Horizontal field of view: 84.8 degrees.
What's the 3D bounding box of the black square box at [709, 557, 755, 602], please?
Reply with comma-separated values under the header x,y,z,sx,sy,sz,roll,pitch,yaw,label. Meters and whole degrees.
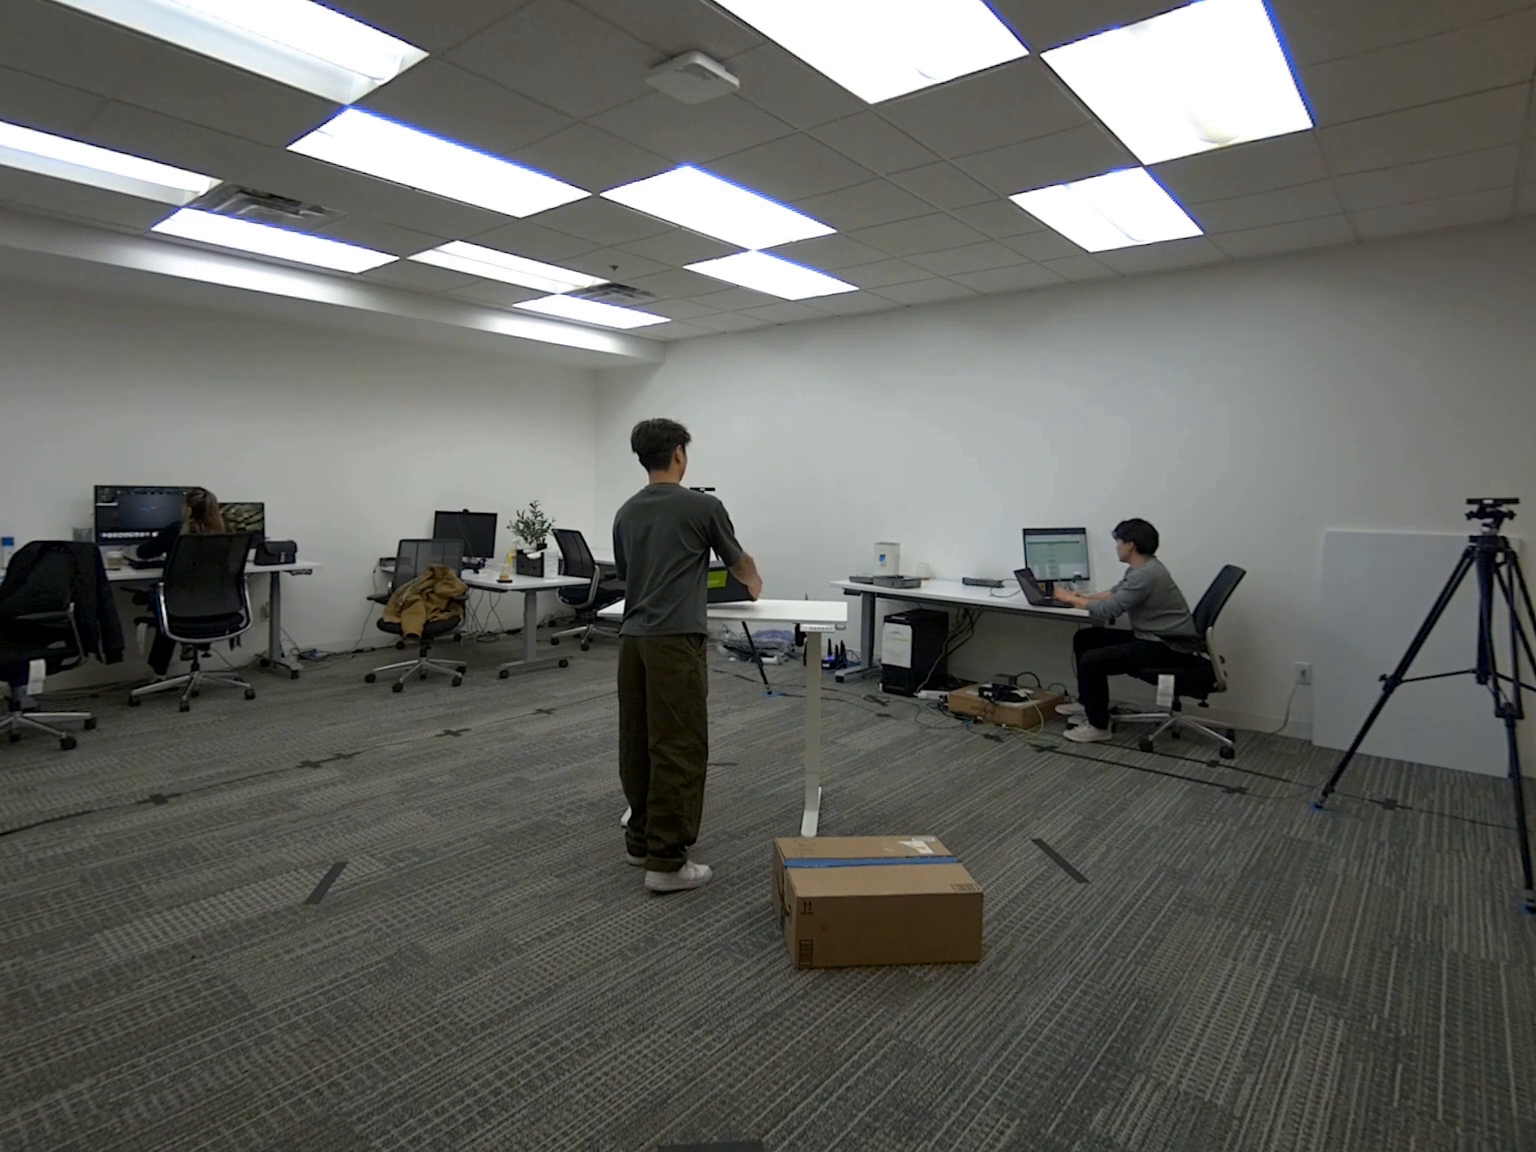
x,y,z,sx,sy,sz,roll,pitch,yaw,label
-0.181,0.010,3.668,0.230,0.155,0.217,-2,7,6,black square box
